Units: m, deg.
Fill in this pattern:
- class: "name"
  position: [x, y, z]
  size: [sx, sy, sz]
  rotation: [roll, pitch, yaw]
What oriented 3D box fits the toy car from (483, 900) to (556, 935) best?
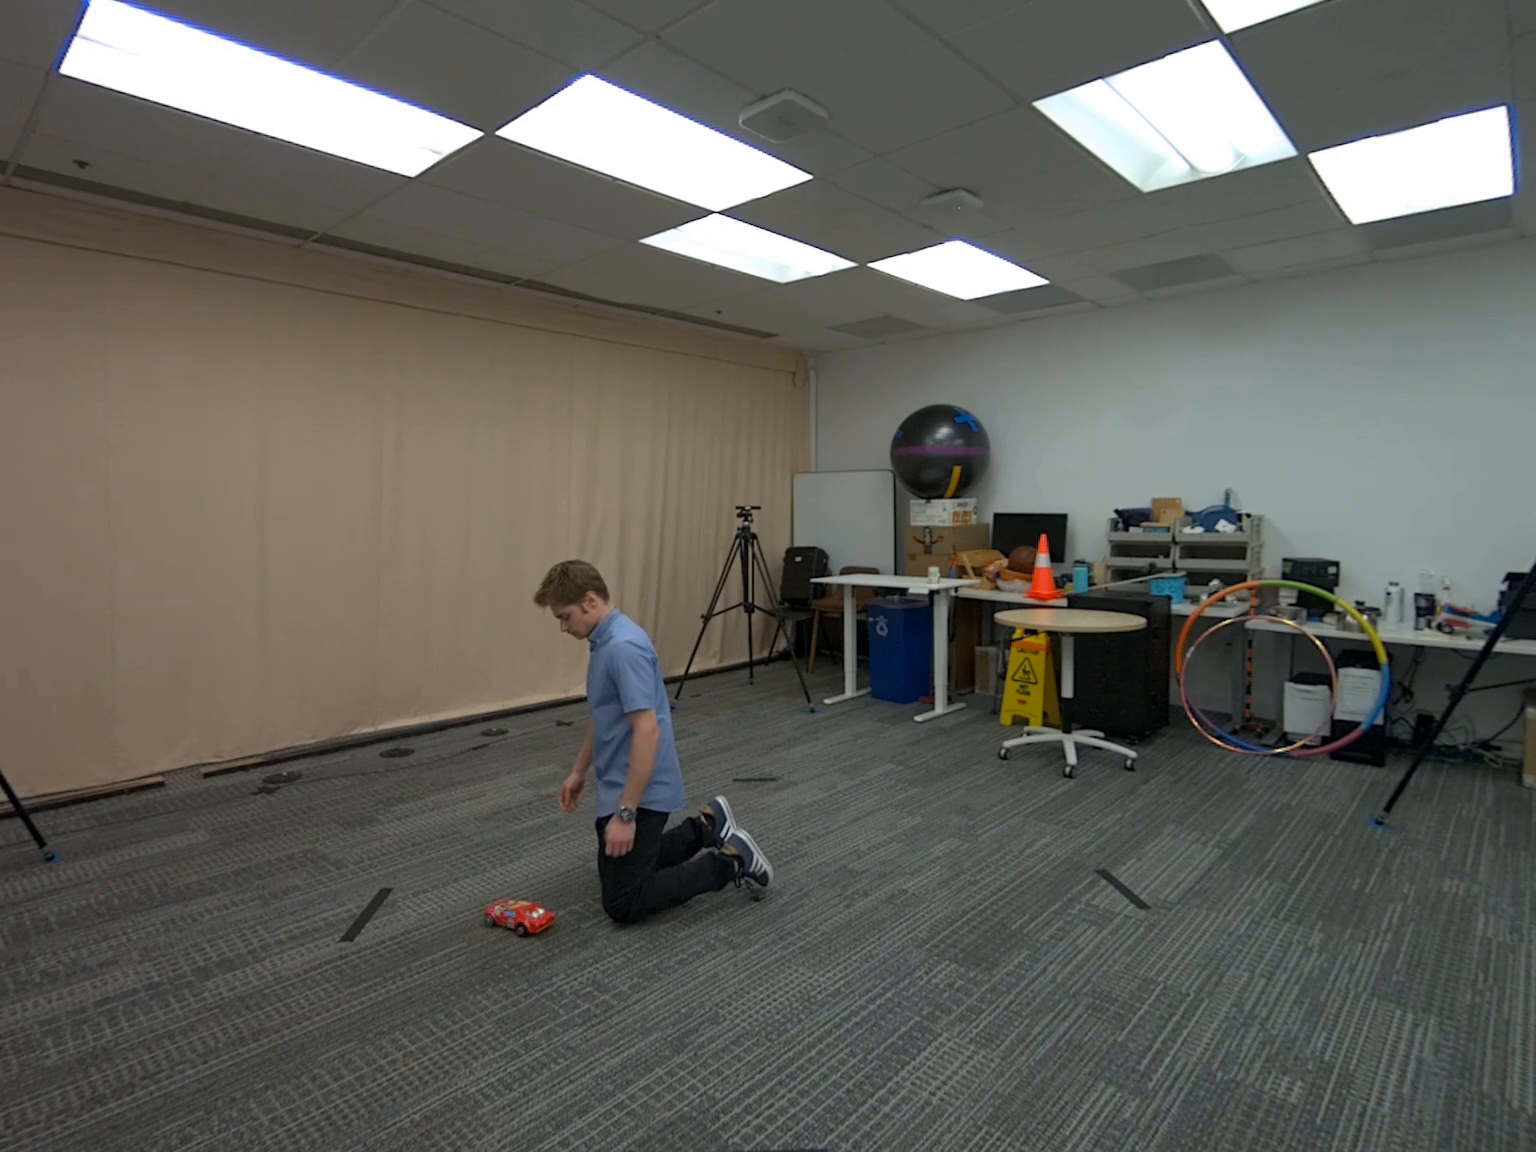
- class: "toy car"
  position: [-0.819, 1.139, 2.795]
  size: [0.260, 0.083, 0.127]
  rotation: [-12, 0, 28]
